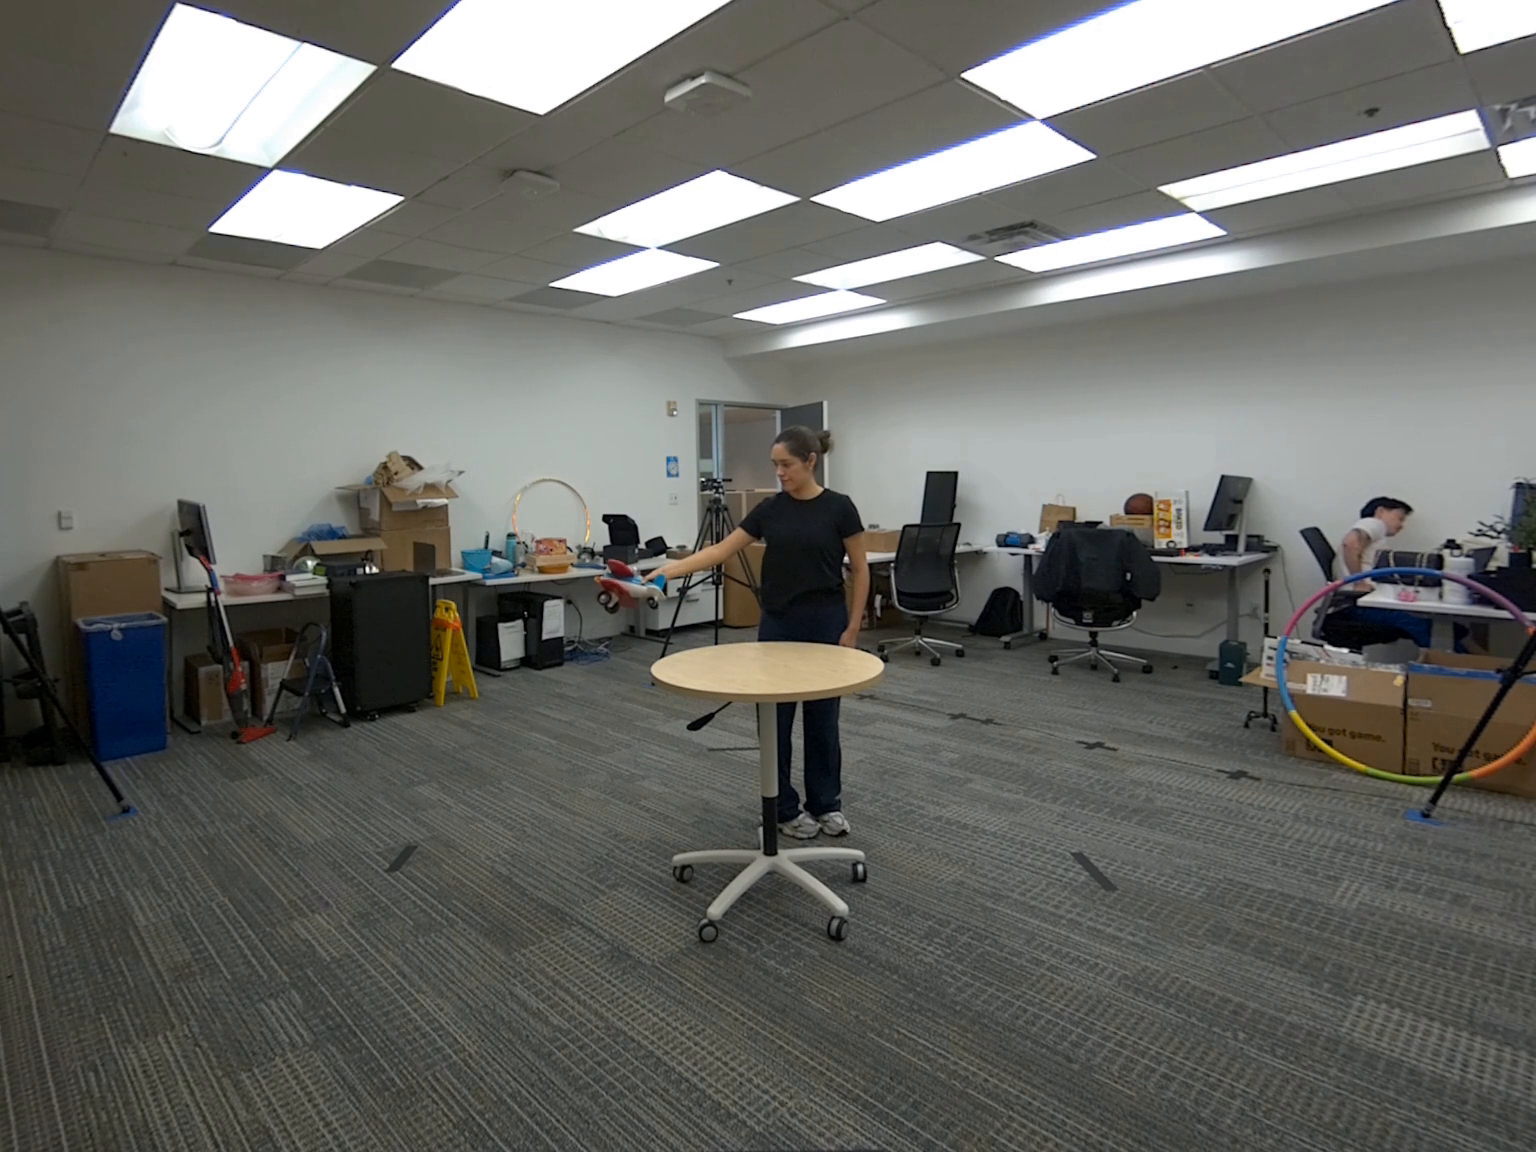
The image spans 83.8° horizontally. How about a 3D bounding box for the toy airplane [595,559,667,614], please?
[{"bbox_3d":[-0.512,0.052,3.252,0.256,0.159,0.249,9,-26,-12],"label":"toy airplane"}]
